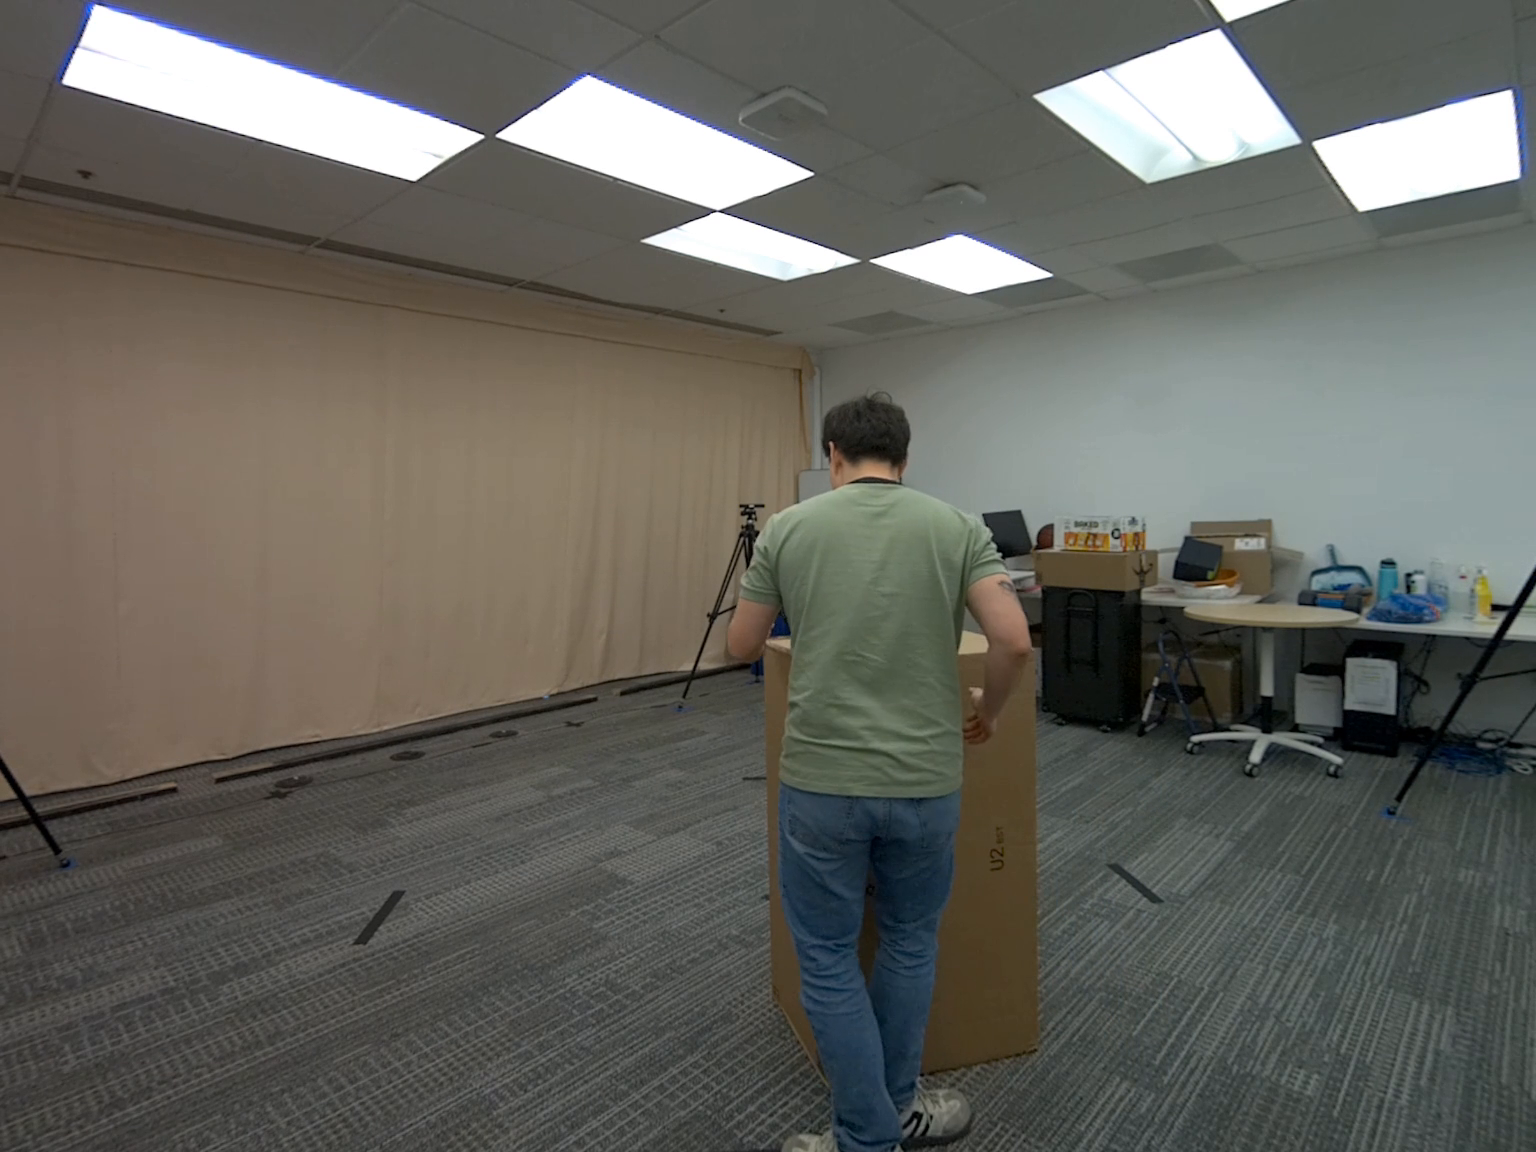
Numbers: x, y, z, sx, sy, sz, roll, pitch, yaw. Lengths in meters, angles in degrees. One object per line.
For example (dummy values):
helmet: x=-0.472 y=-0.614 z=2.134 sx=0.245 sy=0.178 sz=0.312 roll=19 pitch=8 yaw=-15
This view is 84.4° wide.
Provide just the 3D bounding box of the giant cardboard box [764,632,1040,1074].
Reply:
giant cardboard box: x=0.345 y=0.687 z=2.235 sx=0.568 sy=1.024 sz=0.434 roll=-2 pitch=3 yaw=-16
